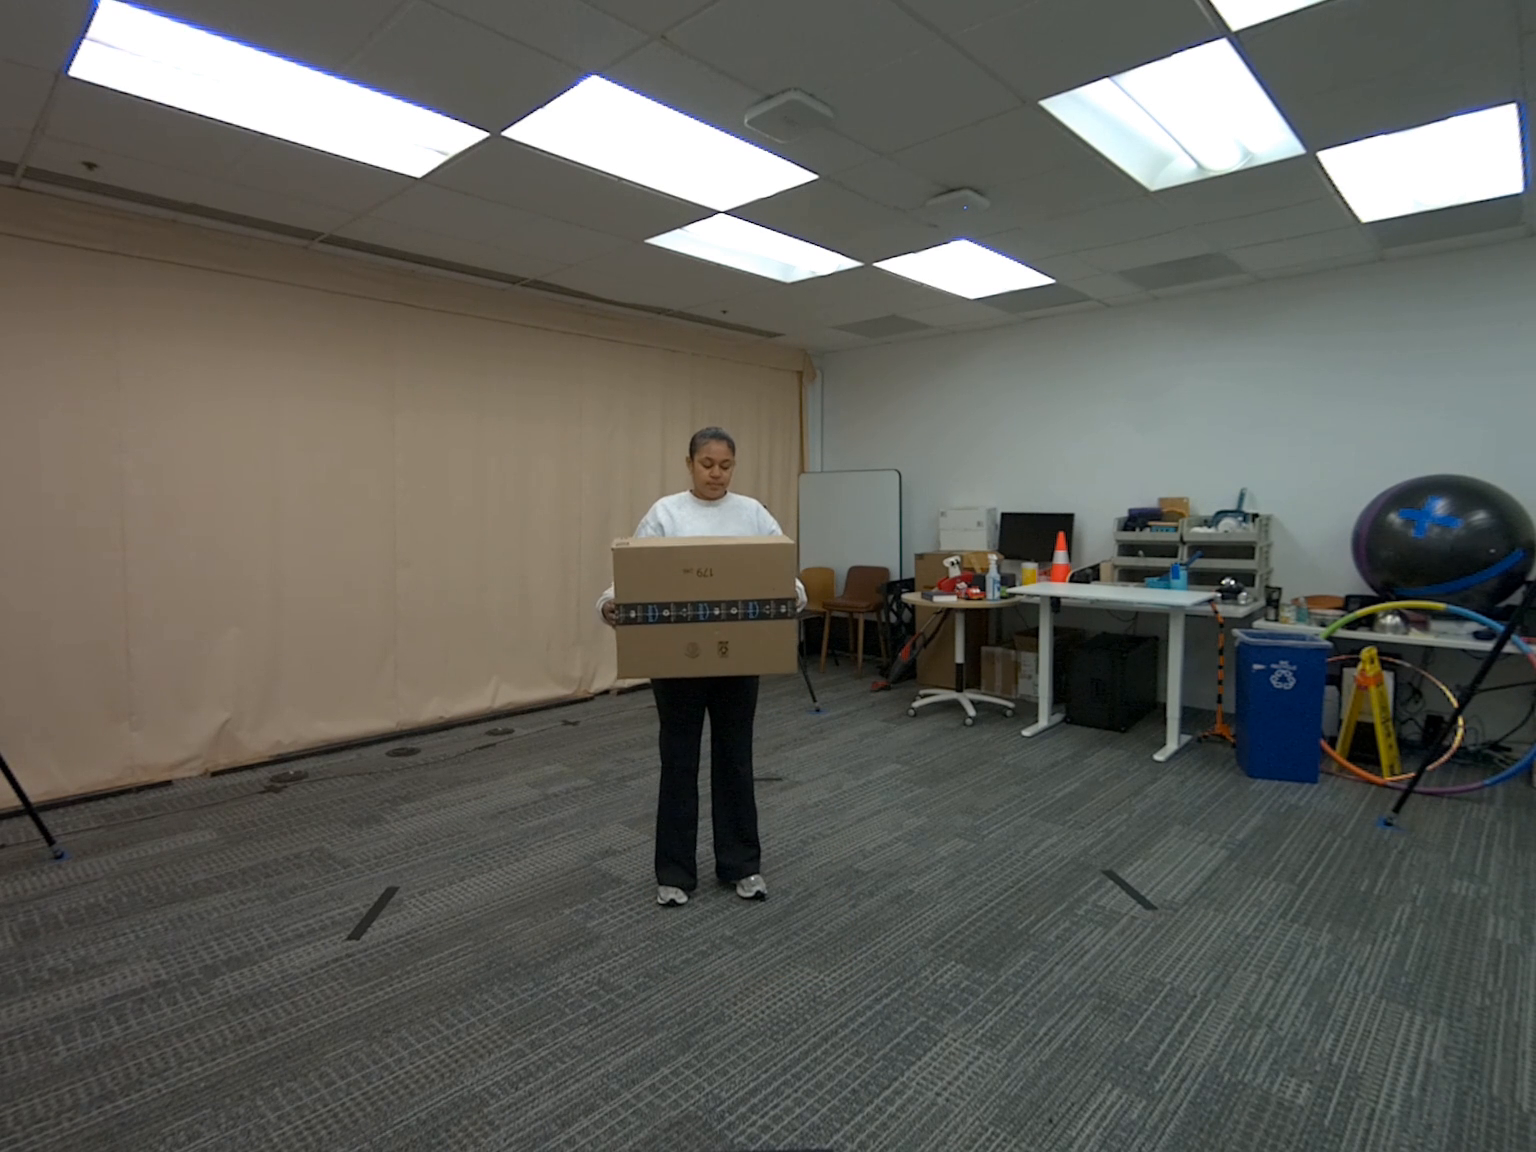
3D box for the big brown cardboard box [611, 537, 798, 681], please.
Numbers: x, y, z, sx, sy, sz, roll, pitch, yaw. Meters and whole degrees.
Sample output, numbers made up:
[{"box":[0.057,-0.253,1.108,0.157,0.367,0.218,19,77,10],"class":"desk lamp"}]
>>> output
[{"box":[-0.202,0.093,2.697,0.587,0.415,0.235,0,8,-3],"class":"big brown cardboard box"}]
